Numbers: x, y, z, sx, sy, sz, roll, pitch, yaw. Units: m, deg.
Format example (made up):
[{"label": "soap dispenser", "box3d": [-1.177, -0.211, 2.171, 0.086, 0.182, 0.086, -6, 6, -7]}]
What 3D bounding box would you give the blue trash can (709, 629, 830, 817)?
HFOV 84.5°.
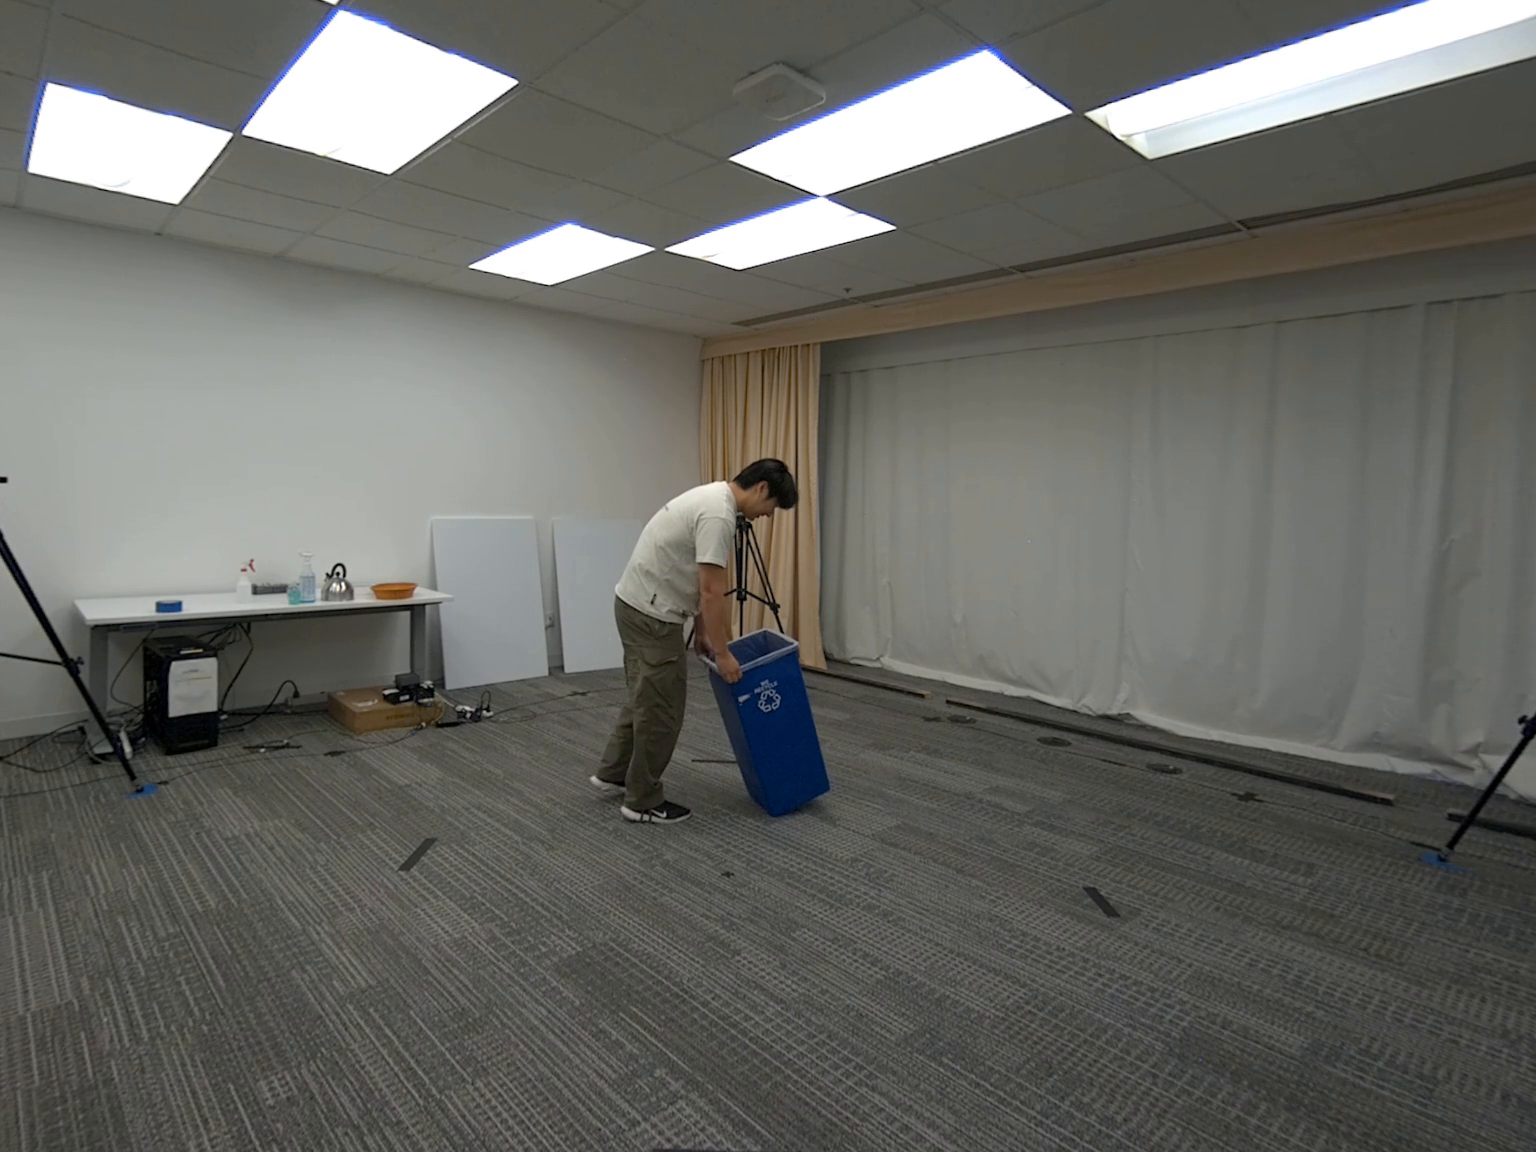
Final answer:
[{"label": "blue trash can", "box3d": [-0.005, 0.654, 3.796, 0.371, 0.705, 0.386, -21, 13, -20]}]
